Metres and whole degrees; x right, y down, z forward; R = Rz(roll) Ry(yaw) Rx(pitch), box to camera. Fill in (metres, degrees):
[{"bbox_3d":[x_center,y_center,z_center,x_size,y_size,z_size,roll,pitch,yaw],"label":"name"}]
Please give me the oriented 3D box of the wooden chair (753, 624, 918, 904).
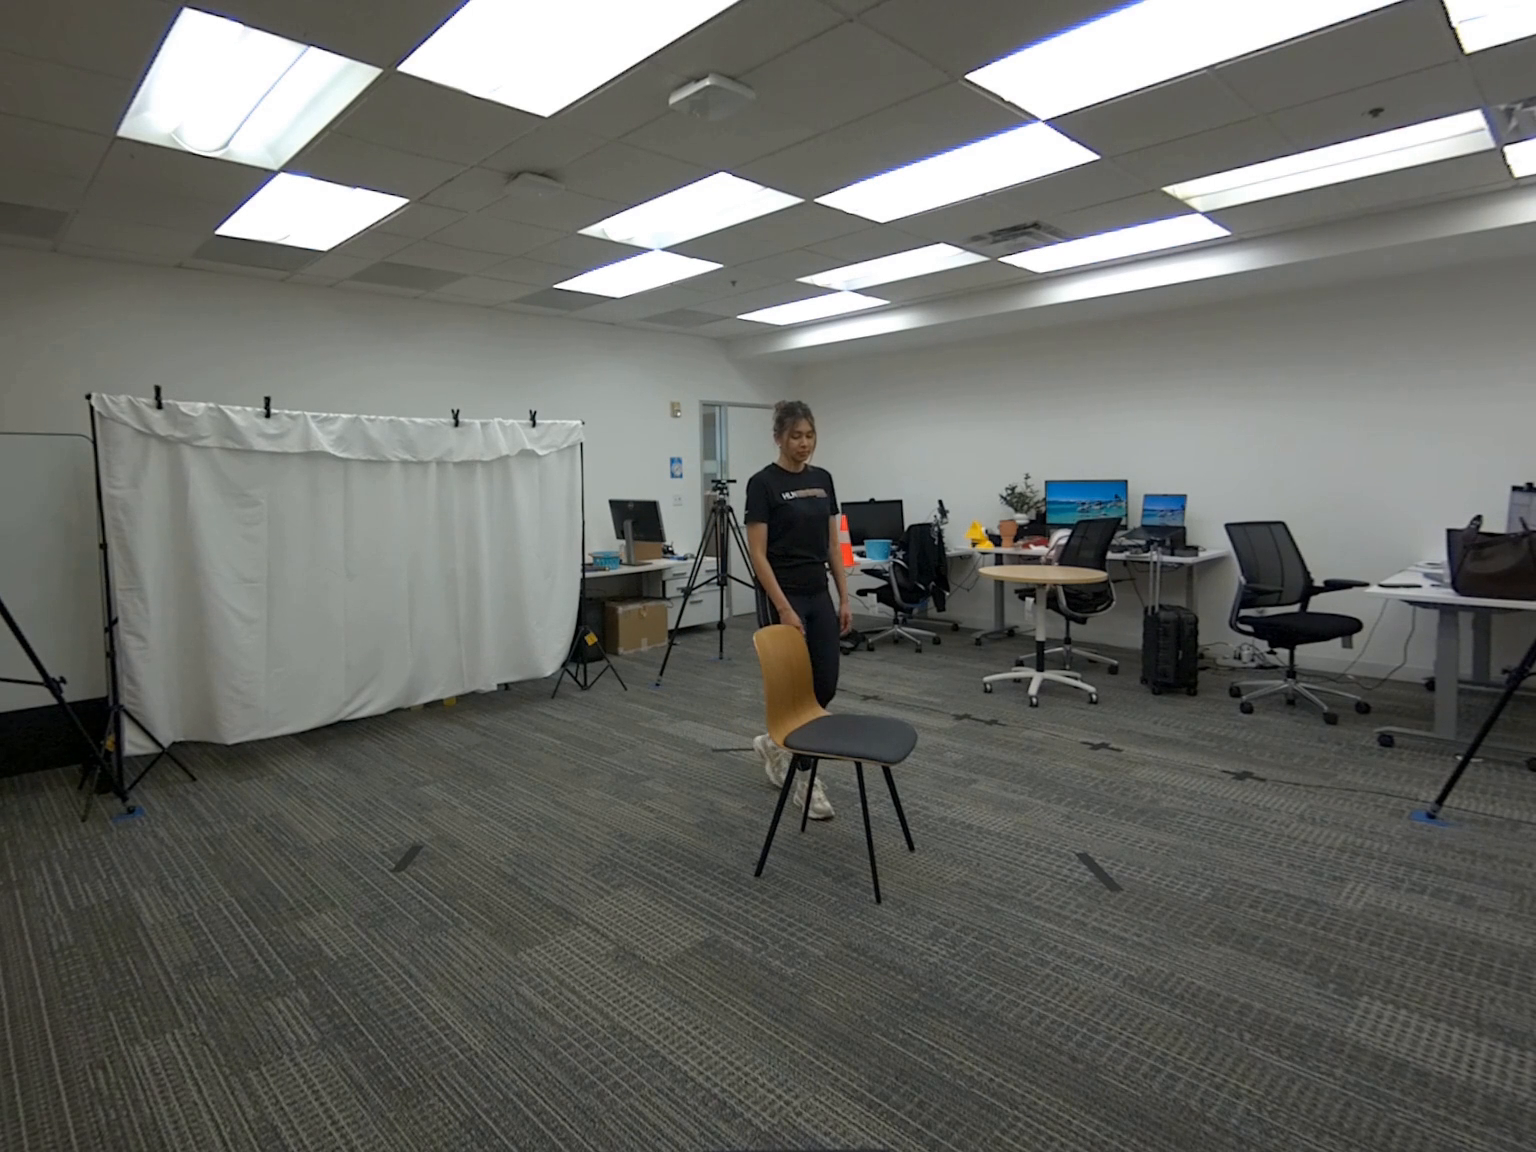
[{"bbox_3d":[0.252,0.621,3.066,0.535,0.876,0.468,-4,2,26],"label":"wooden chair"}]
